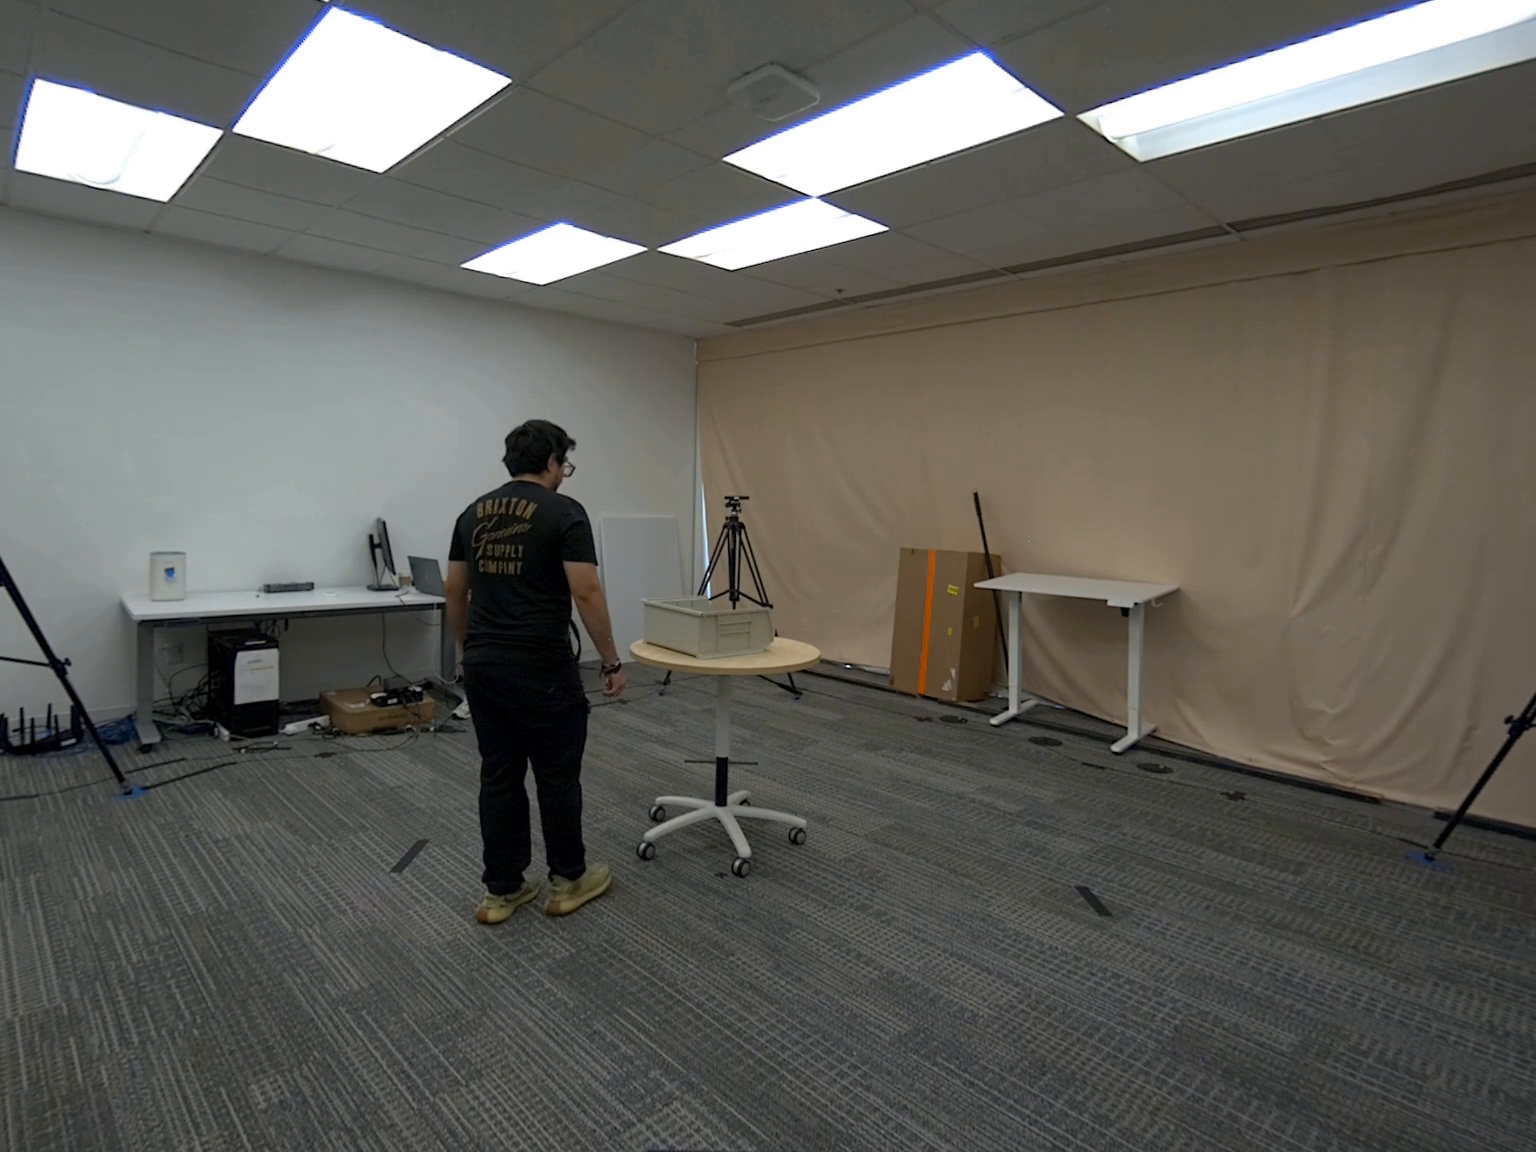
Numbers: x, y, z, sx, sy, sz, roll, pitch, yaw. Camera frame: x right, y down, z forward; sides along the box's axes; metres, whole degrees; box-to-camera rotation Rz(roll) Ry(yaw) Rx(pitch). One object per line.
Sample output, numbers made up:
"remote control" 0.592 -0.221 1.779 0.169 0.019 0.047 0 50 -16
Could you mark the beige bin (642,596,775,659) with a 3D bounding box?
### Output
"beige bin" -0.252 0.203 3.410 0.369 0.188 0.433 -3 8 -39
